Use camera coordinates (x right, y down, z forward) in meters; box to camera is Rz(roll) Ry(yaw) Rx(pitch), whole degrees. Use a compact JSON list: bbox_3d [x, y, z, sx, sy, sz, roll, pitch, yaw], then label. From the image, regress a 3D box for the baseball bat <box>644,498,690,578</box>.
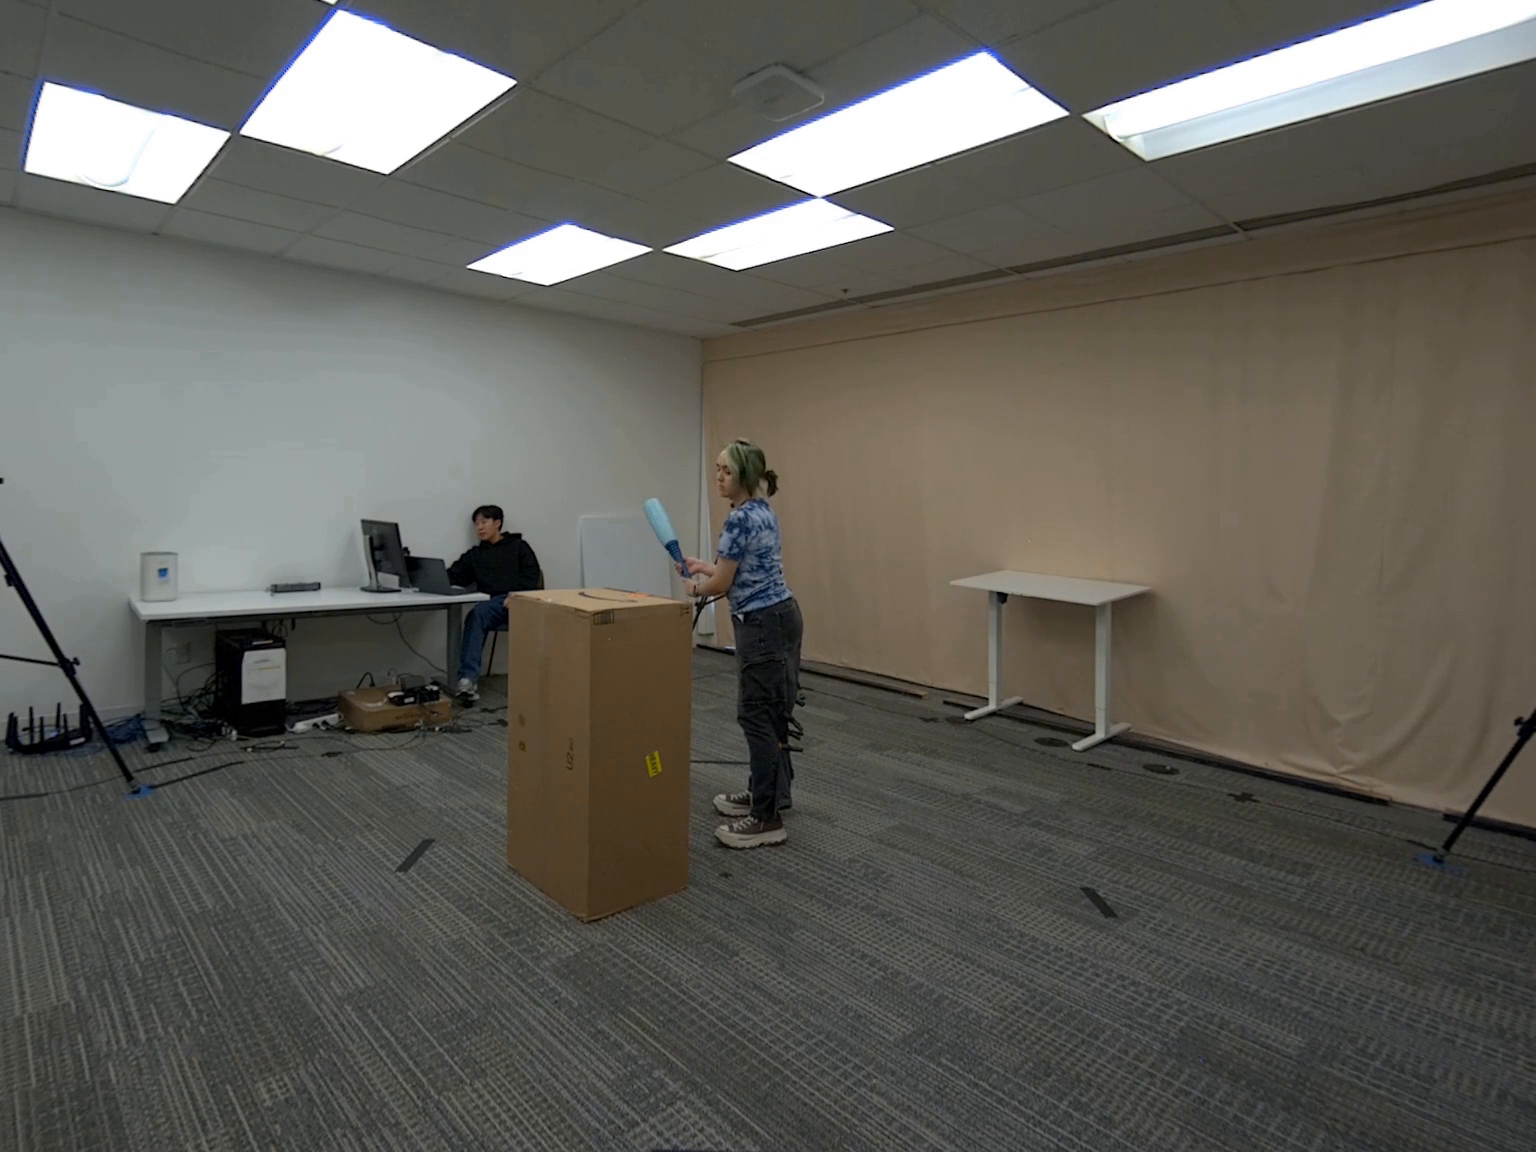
[{"bbox_3d":[-0.441,-0.125,3.869,0.088,0.557,0.087,-22,-27,-13],"label":"baseball bat"}]
